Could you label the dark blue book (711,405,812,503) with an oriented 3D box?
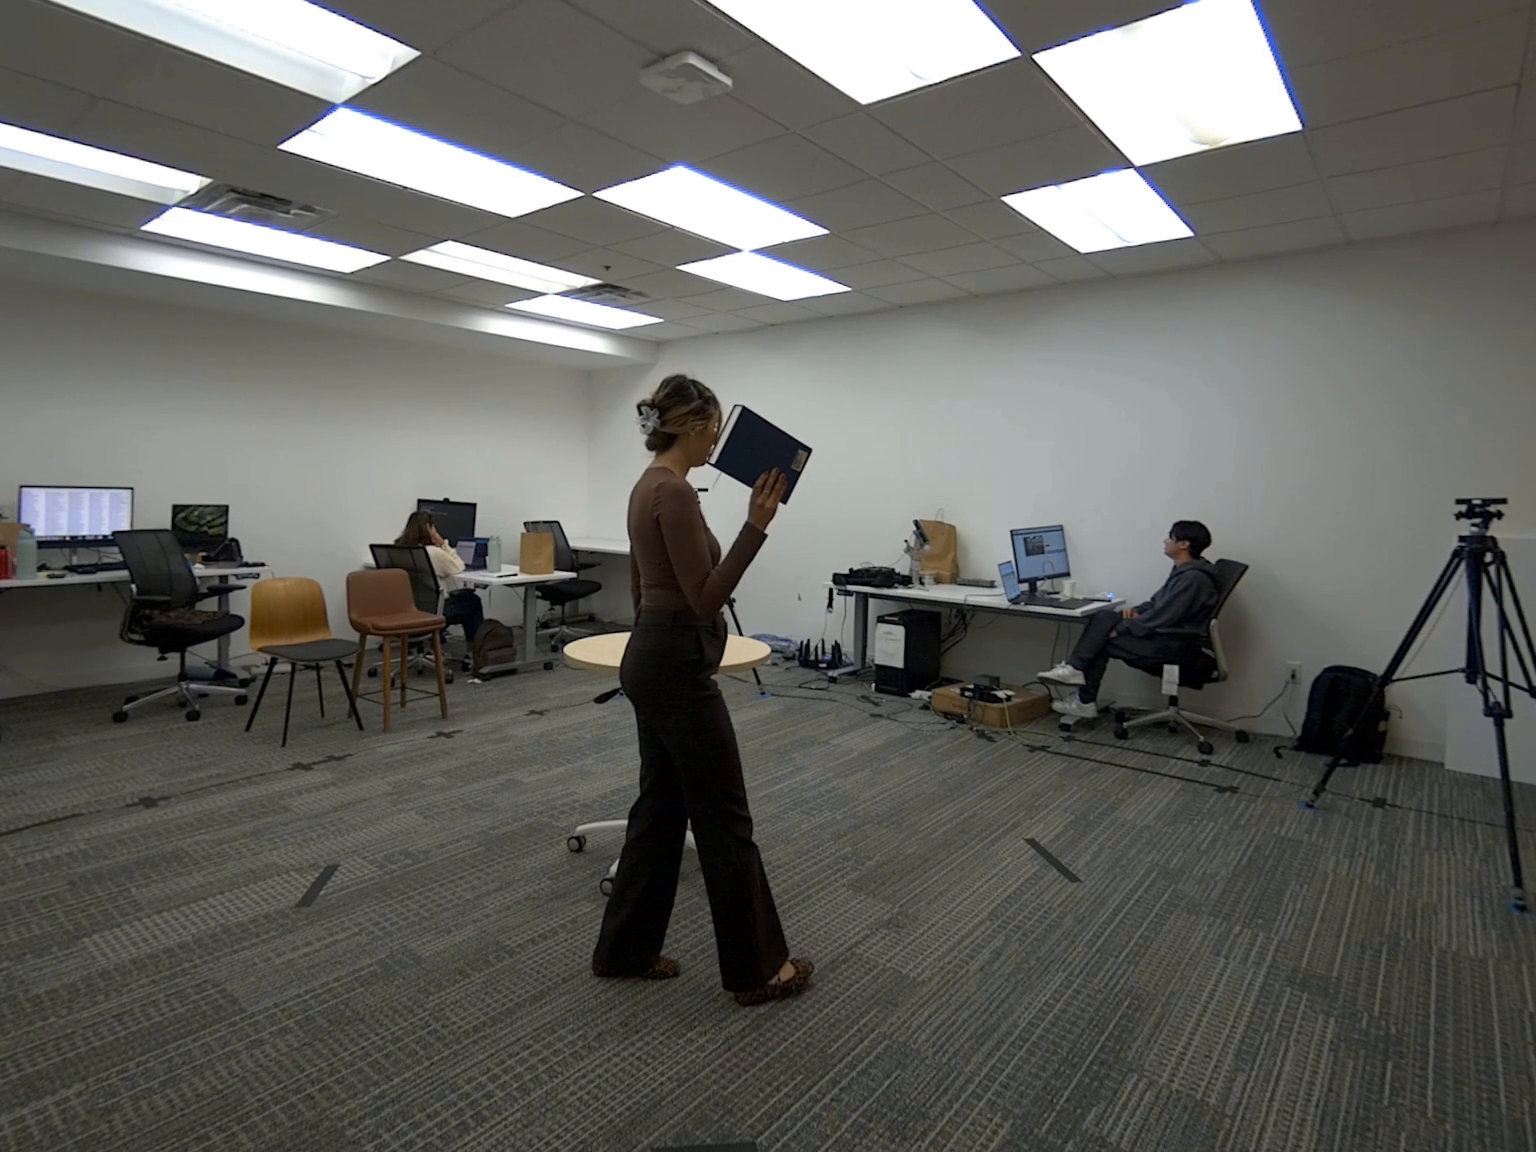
[{"bbox_3d":[-0.027,-0.303,2.121,0.236,0.163,0.047,27,1,-30],"label":"dark blue book"}]
